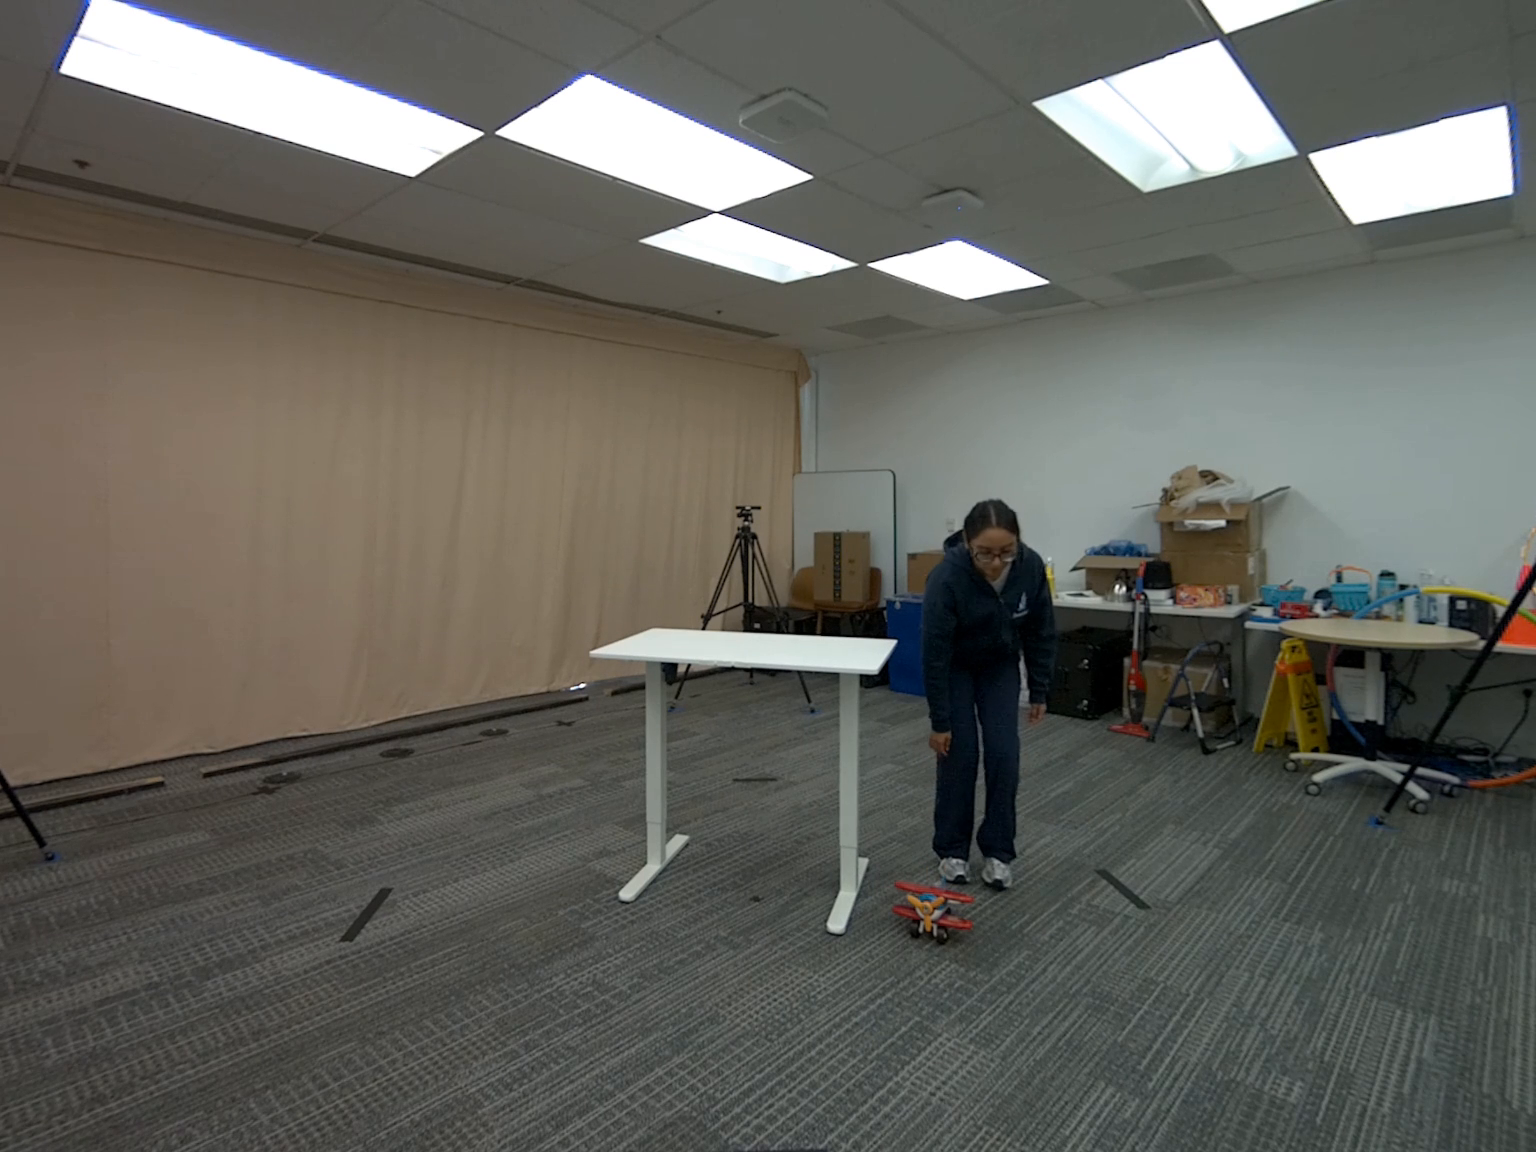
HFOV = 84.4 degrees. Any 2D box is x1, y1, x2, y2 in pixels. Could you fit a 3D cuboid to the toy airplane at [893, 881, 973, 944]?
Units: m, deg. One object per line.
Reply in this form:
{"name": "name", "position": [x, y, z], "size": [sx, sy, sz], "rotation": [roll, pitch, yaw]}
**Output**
{"name": "toy airplane", "position": [0.558, 1.079, 2.768], "size": [0.251, 0.156, 0.260], "rotation": [-1, 5, -1]}
